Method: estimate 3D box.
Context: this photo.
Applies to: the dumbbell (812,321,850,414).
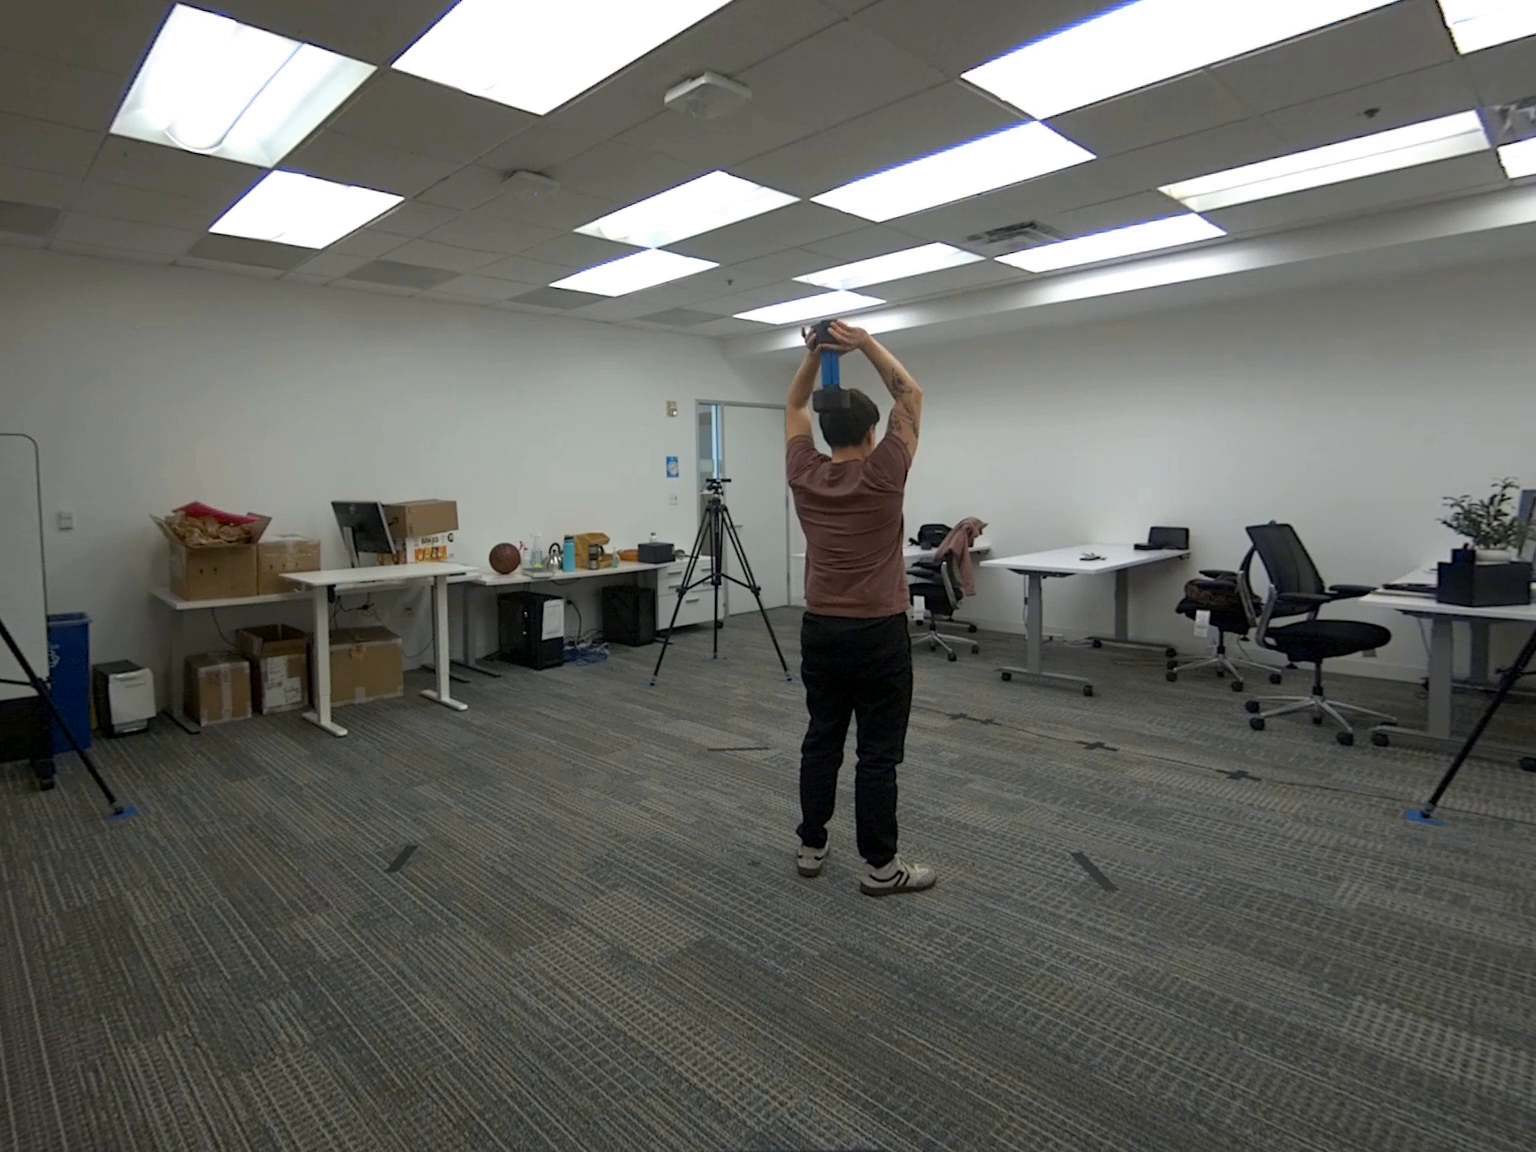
[{"bbox_3d":[0.207,-0.678,2.787,0.112,0.292,0.120,3,5,37],"label":"dumbbell"}]
